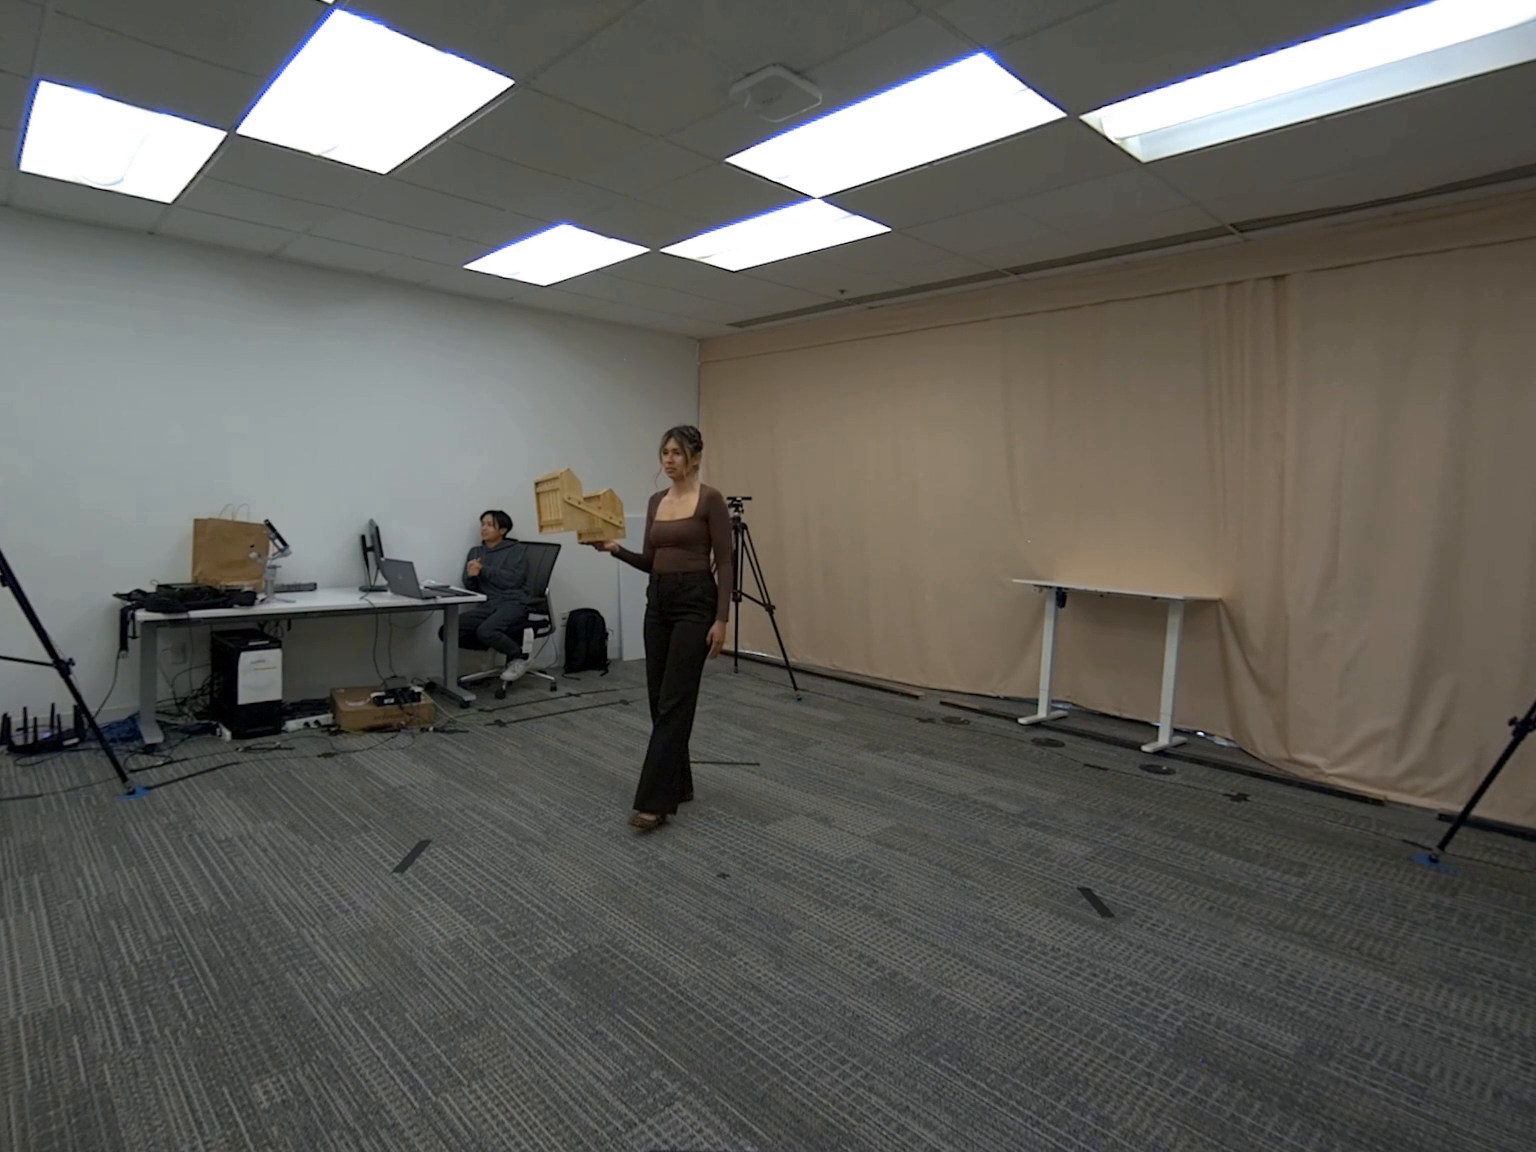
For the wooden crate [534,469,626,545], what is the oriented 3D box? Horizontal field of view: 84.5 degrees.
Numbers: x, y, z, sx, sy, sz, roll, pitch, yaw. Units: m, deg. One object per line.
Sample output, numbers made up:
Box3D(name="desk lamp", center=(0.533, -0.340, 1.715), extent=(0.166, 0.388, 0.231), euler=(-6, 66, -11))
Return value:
Box3D(name="wooden crate", center=(-0.790, -0.293, 3.505), extent=(0.268, 0.301, 0.331), euler=(-7, 4, -33))
